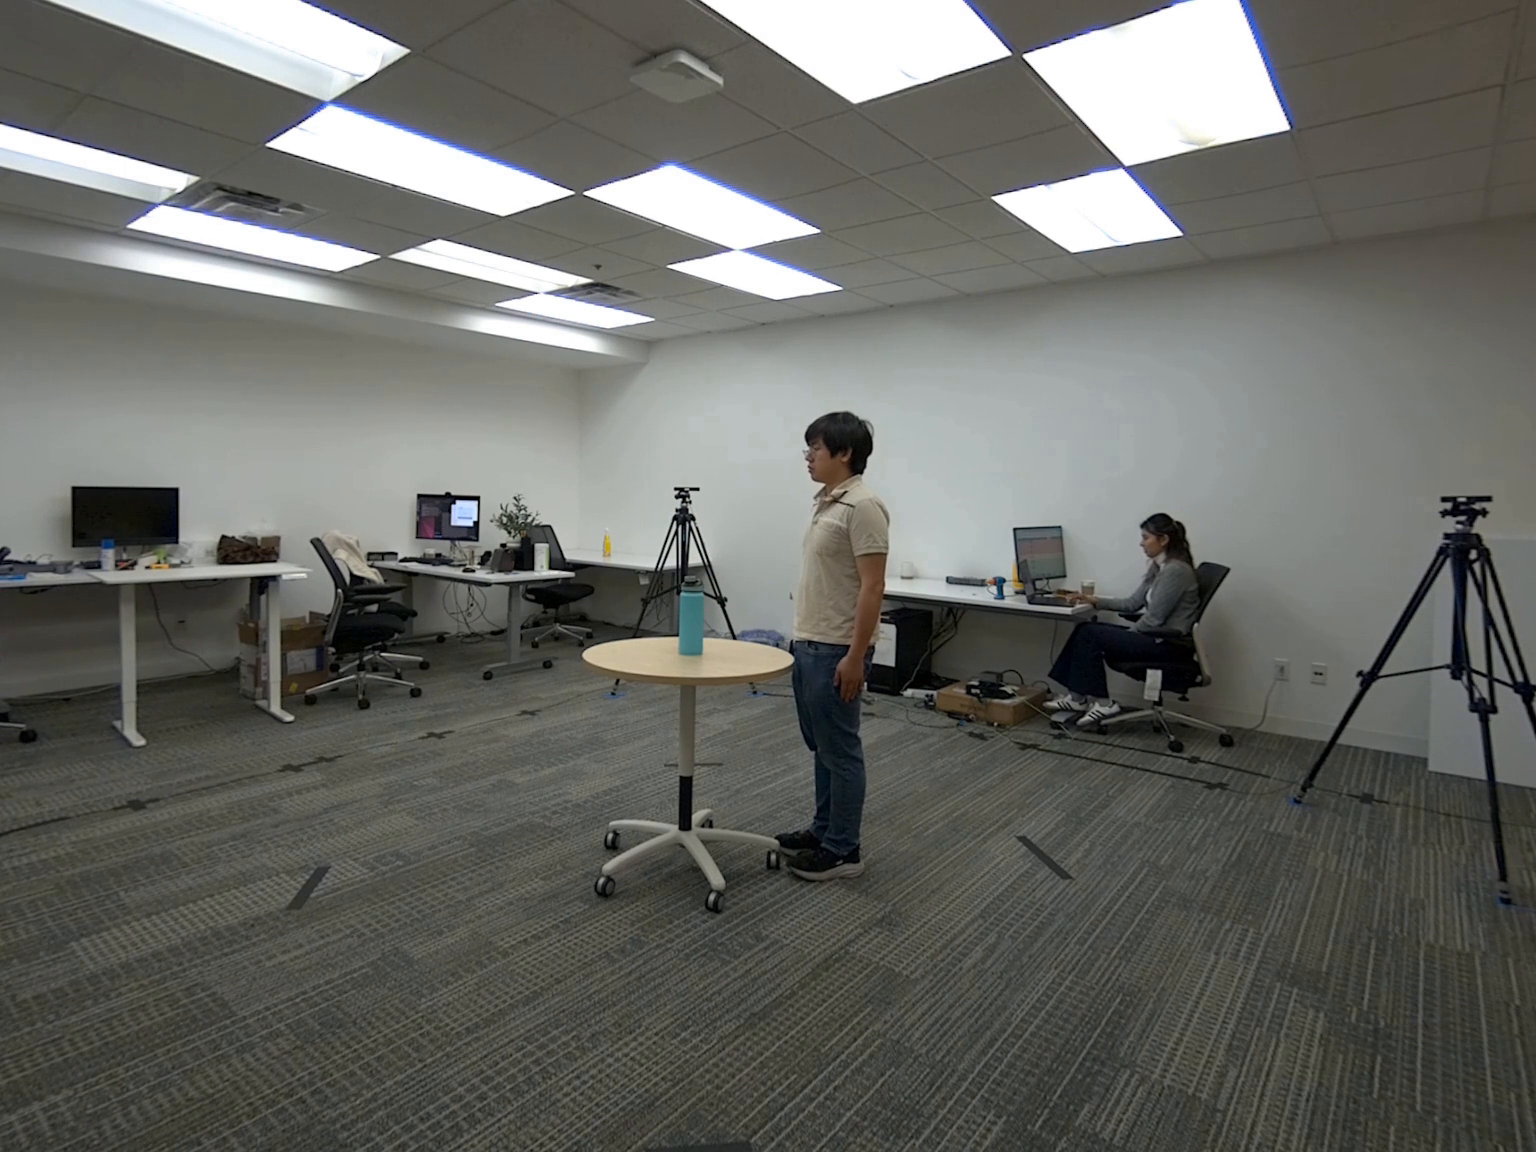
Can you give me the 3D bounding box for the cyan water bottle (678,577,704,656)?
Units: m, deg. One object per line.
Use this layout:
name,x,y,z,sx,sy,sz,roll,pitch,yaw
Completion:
cyan water bottle,-0.291,0.142,3.123,0.092,0.283,0.092,3,1,-2
